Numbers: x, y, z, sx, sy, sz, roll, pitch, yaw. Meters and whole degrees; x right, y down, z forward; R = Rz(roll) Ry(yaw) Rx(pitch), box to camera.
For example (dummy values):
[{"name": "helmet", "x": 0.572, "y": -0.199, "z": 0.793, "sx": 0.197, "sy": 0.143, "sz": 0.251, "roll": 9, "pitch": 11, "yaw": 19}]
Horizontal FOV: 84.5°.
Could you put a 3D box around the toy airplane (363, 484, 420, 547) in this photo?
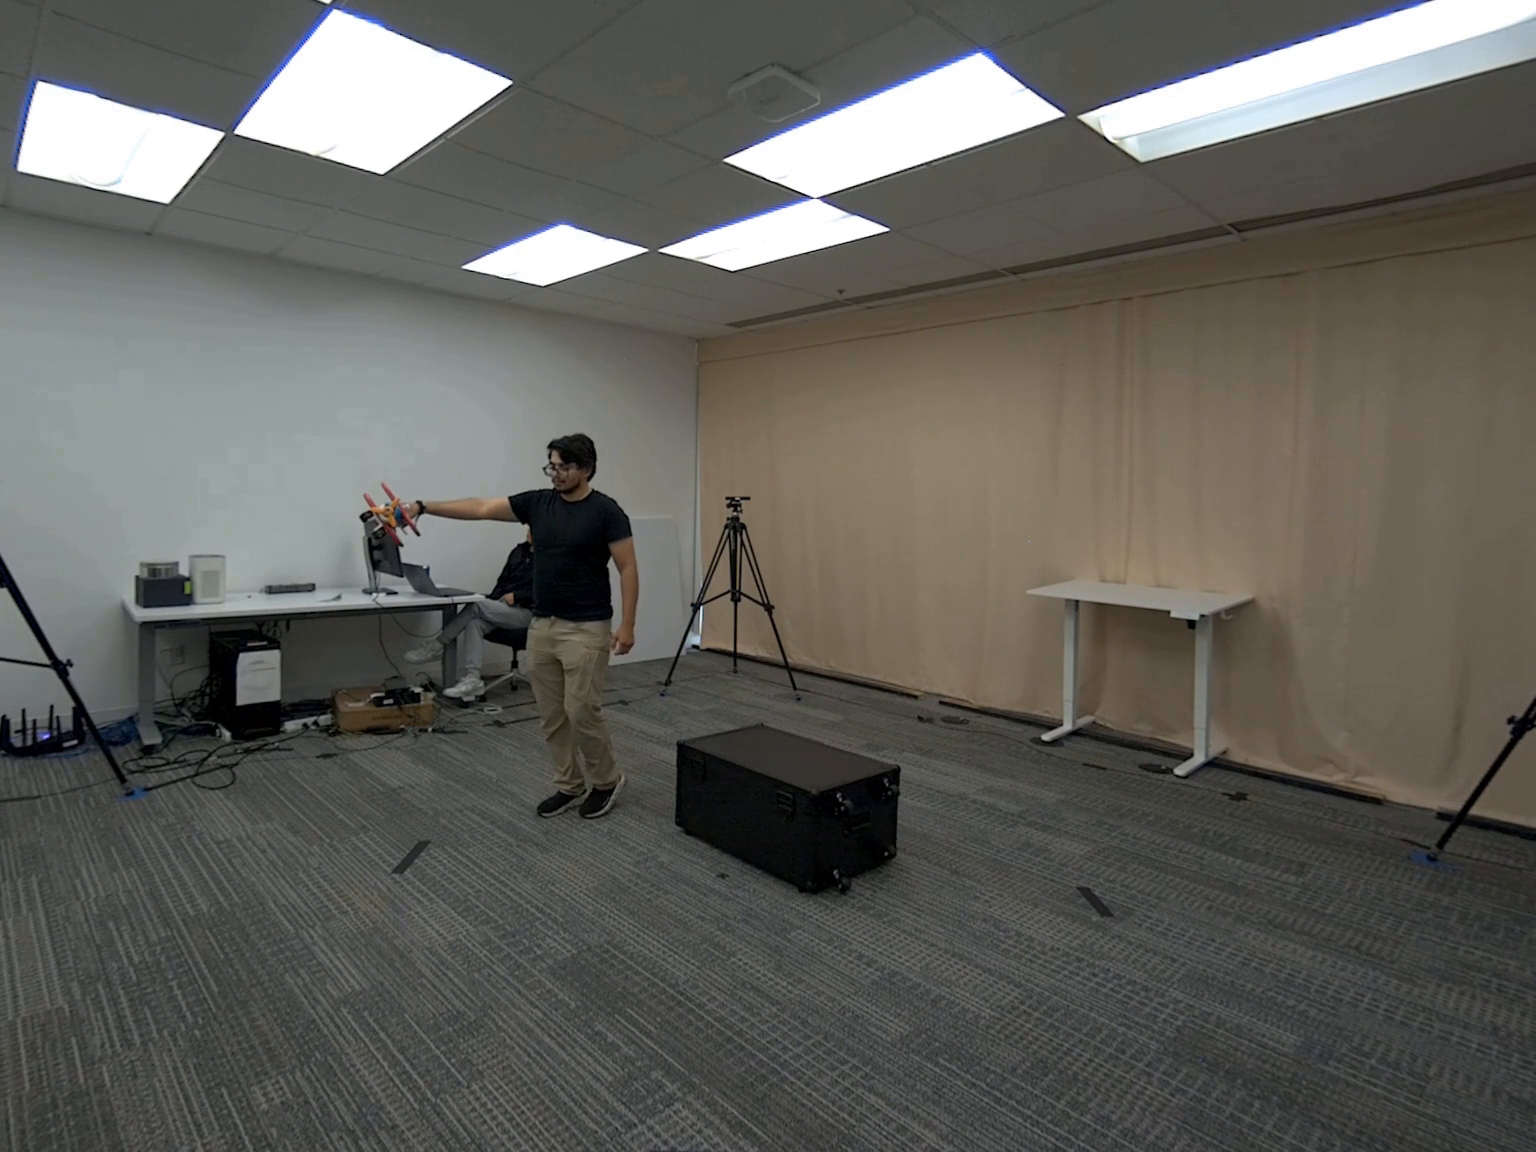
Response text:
[{"name": "toy airplane", "x": -1.538, "y": -0.247, "z": 3.401, "sx": 0.156, "sy": 0.244, "sz": 0.266, "roll": -35, "pitch": 29, "yaw": -1}]
